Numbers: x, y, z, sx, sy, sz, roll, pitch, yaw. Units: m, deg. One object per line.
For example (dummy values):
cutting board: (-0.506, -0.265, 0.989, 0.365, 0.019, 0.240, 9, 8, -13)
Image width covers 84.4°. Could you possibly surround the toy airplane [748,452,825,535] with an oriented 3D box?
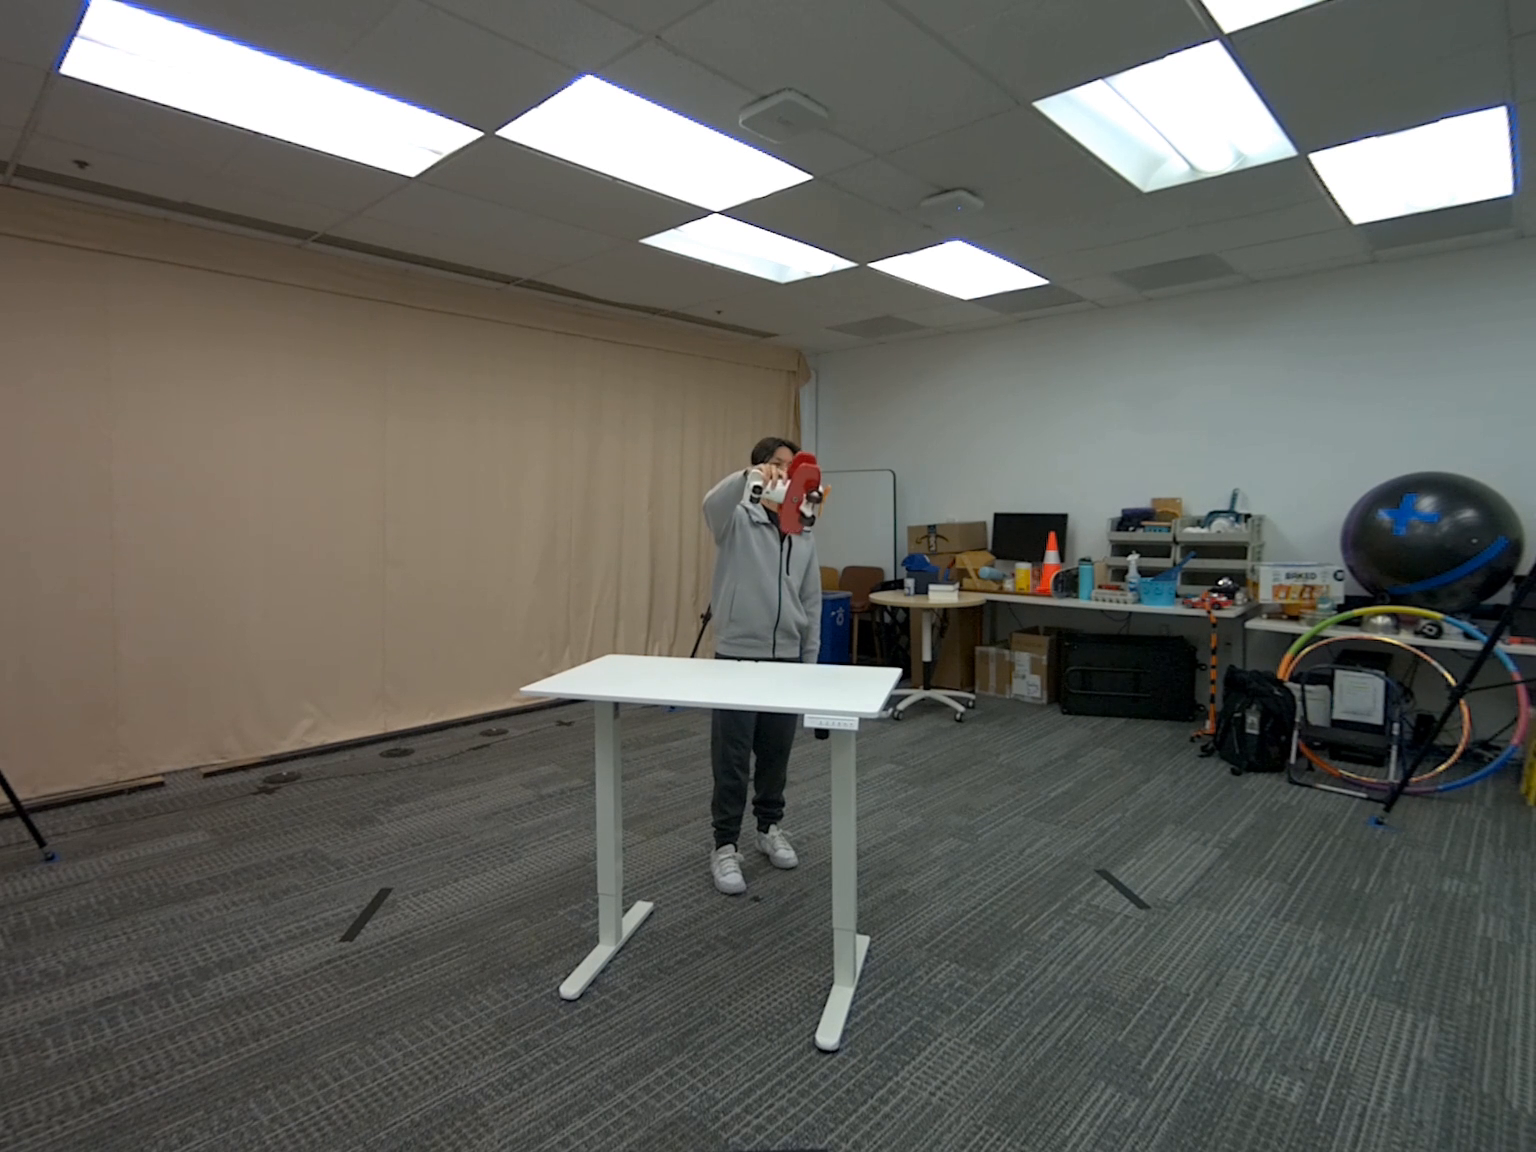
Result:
toy airplane: (0.061, -0.270, 2.672, 0.255, 0.253, 0.158, 36, 31, -13)
